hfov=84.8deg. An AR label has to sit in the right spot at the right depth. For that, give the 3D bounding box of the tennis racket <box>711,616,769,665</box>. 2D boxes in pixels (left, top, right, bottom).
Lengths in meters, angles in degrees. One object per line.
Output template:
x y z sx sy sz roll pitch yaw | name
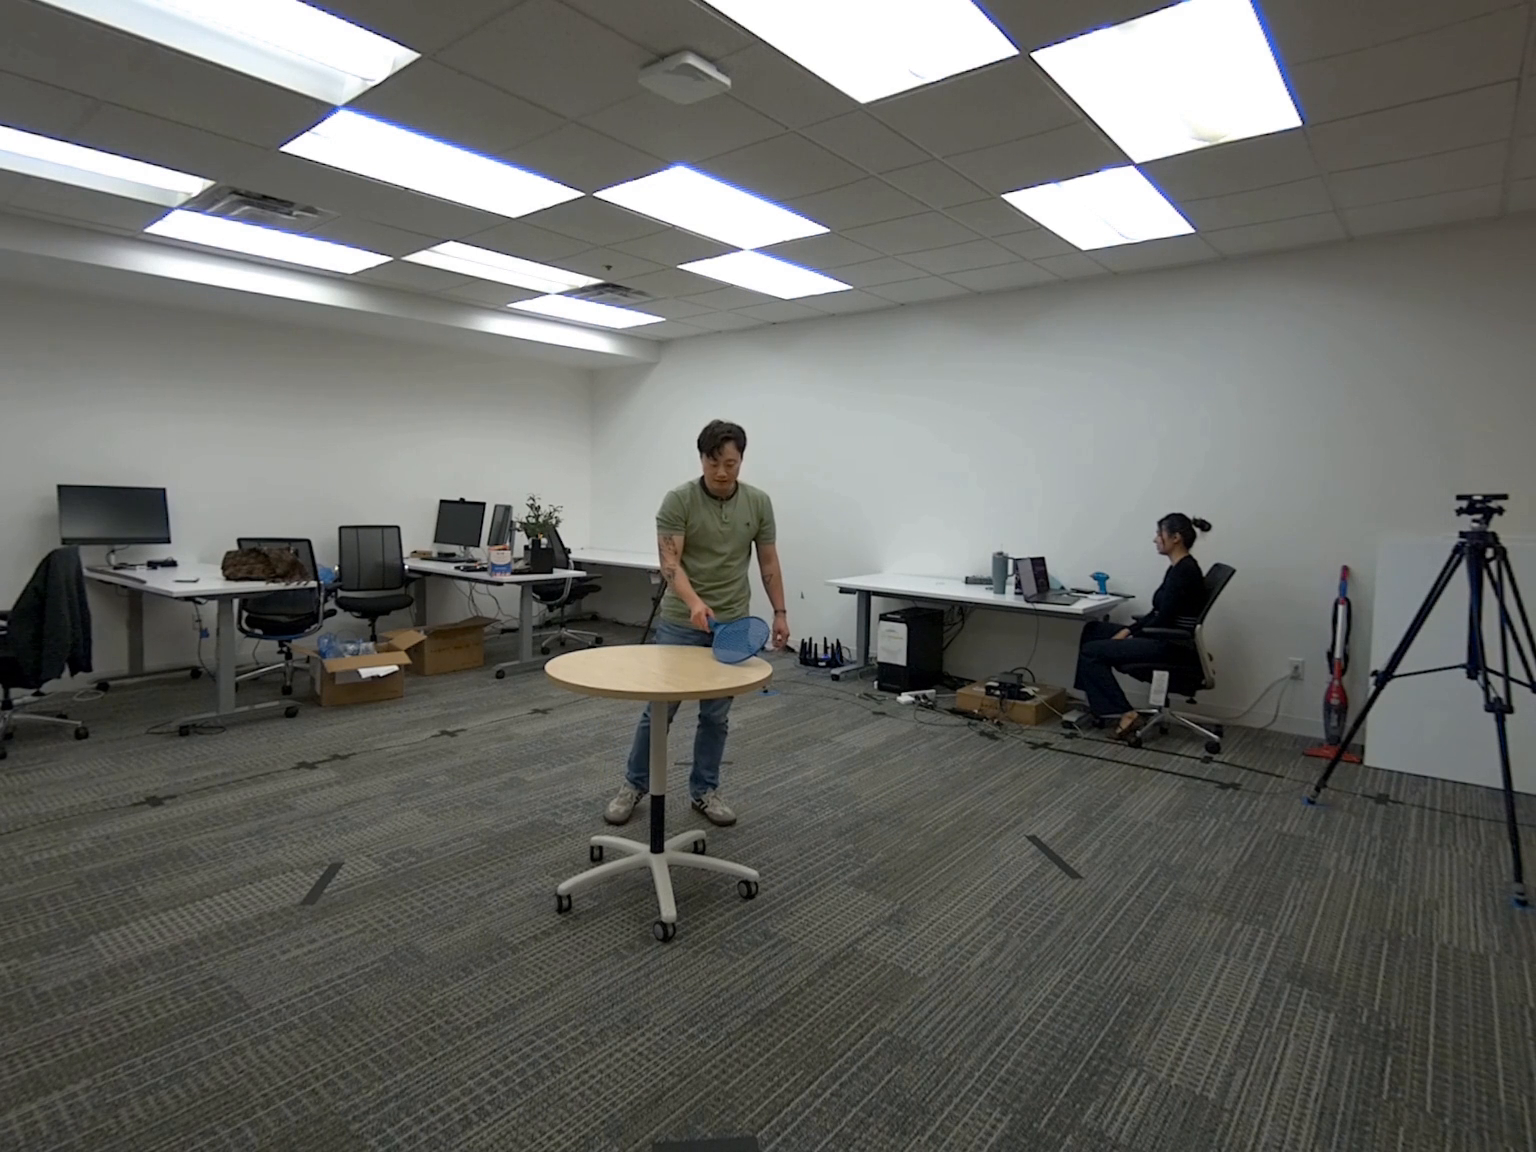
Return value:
-0.164 0.211 3.063 0.213 0.031 0.448 -44 29 -21 | tennis racket
